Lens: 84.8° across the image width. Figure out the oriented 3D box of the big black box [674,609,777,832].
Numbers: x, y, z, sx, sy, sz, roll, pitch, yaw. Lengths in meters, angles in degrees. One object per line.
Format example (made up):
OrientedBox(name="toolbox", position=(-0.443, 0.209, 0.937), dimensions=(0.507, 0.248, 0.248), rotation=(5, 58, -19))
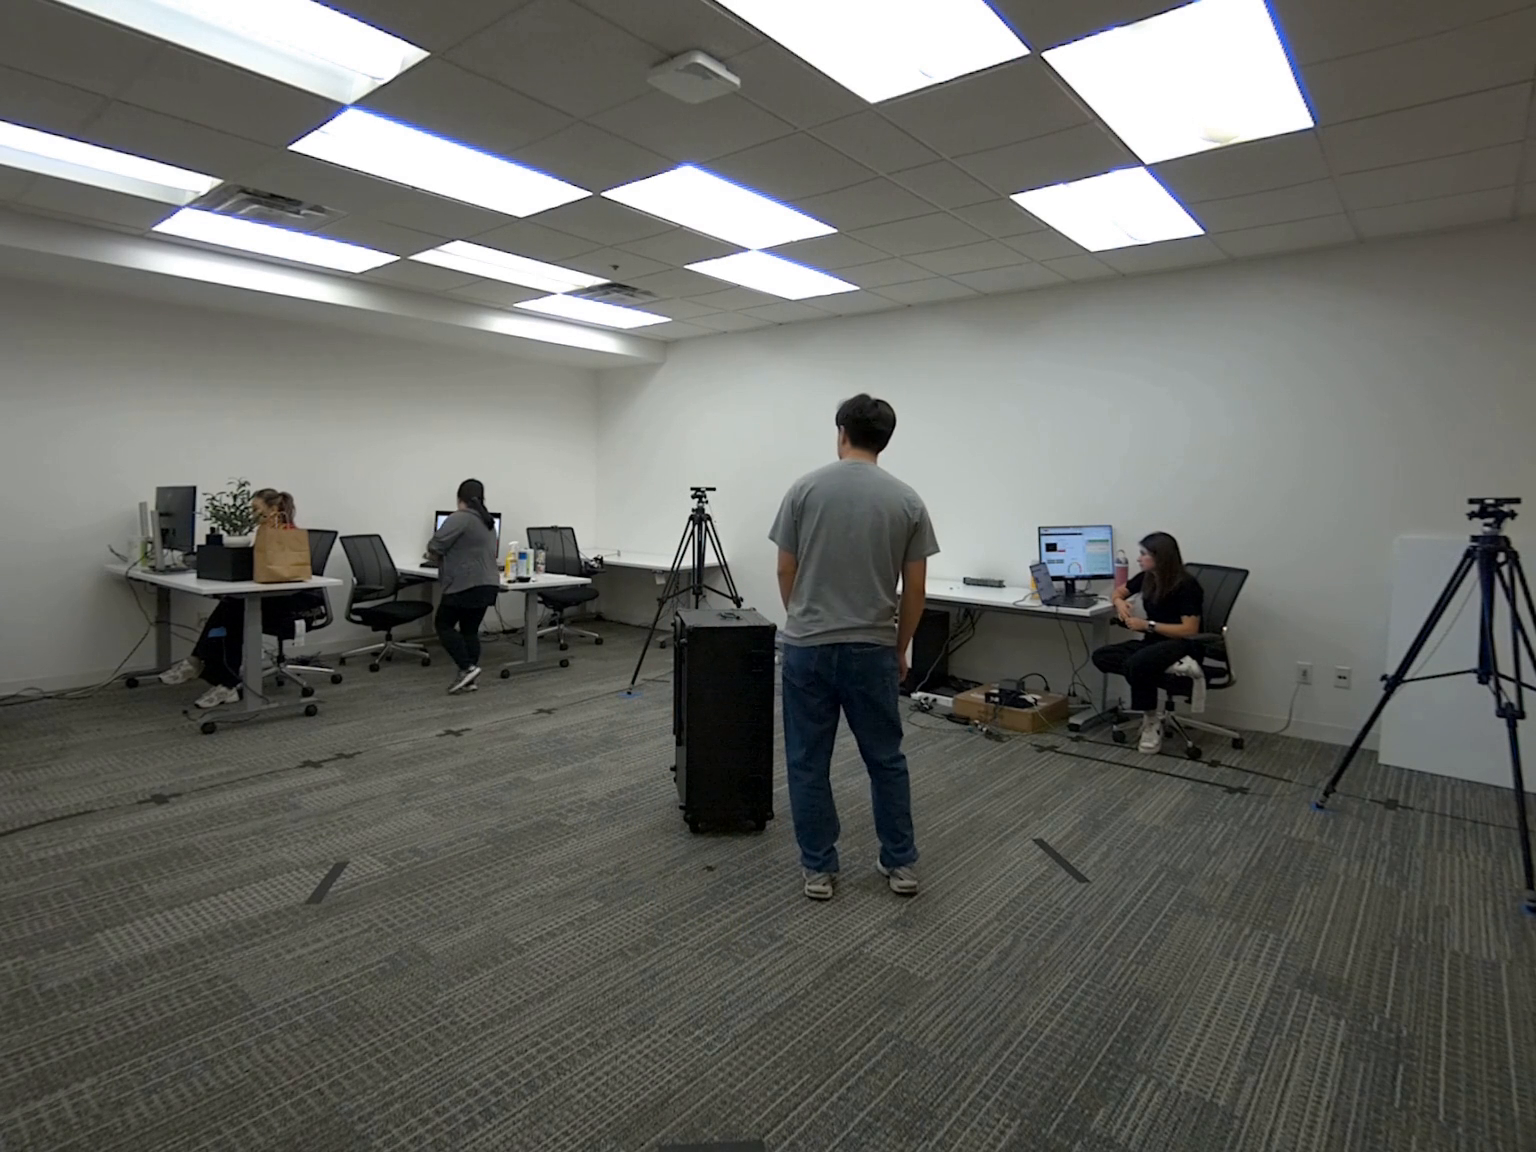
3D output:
OrientedBox(name="big black box", position=(-0.216, 0.598, 3.589), dimensions=(0.392, 0.859, 0.528), rotation=(0, 4, -10))
